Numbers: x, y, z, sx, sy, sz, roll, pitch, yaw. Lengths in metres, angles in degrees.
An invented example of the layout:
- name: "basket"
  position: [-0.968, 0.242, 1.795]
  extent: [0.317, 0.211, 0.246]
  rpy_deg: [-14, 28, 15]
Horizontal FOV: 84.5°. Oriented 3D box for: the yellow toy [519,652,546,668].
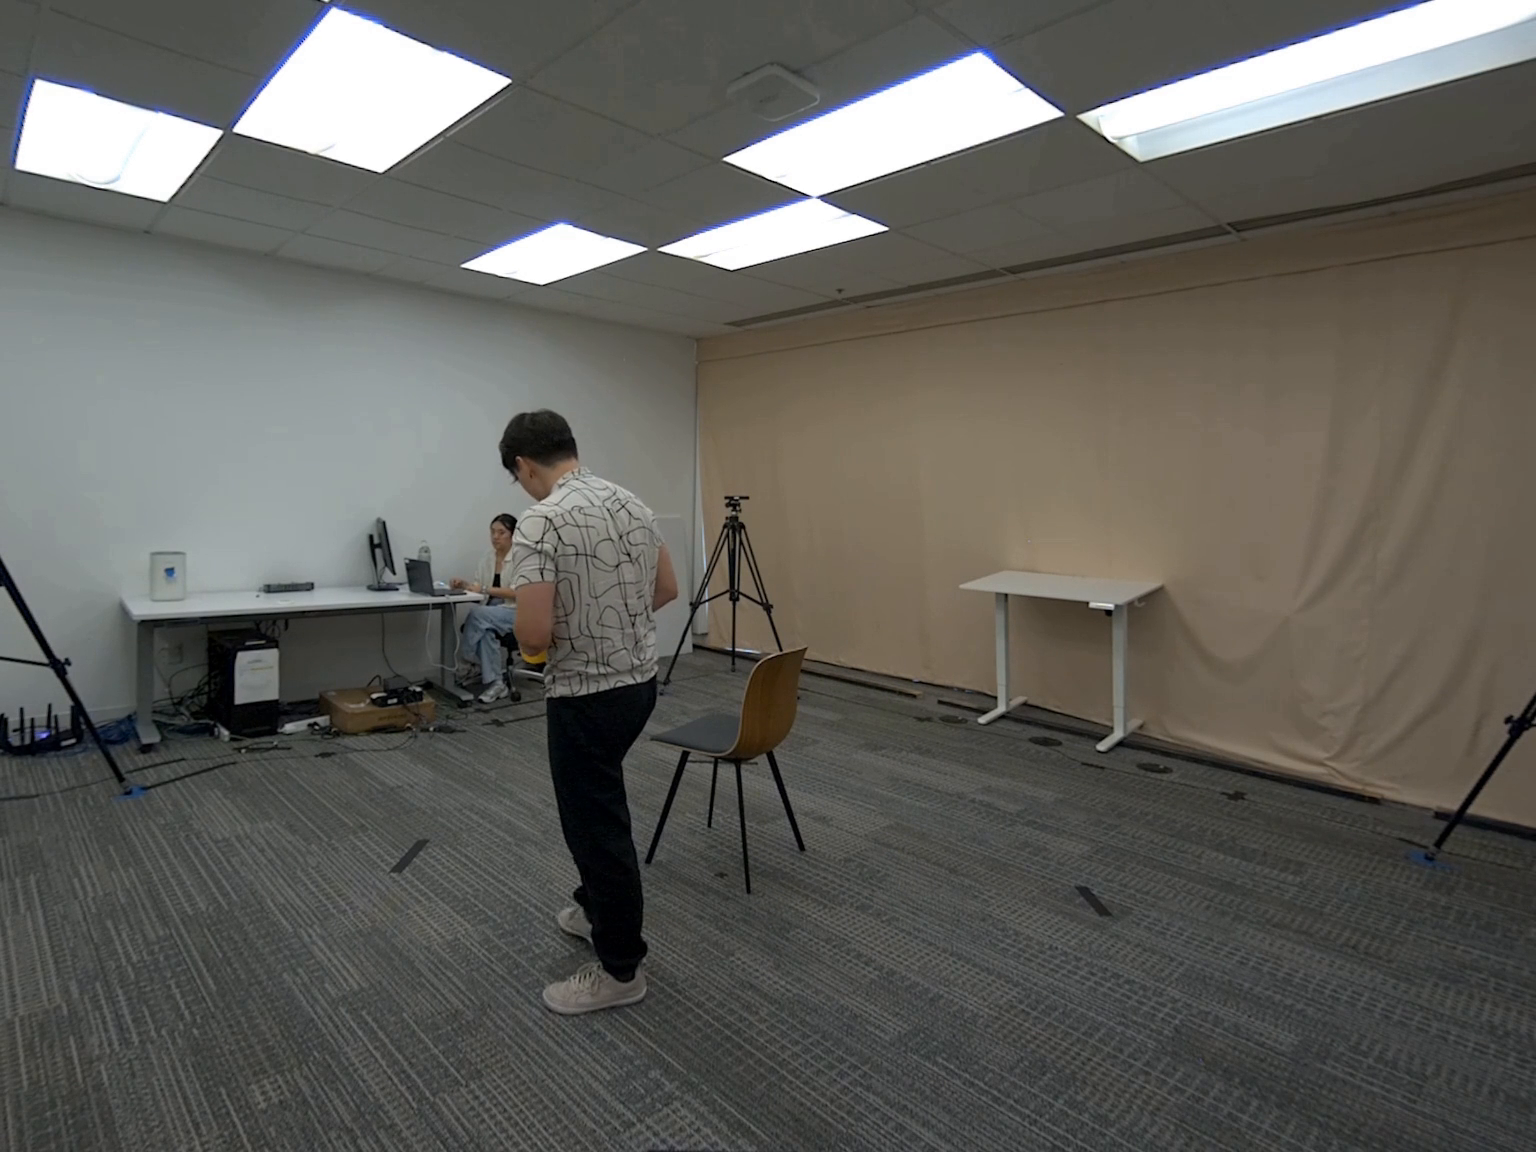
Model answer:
- name: "yellow toy"
  position: [-0.649, 0.108, 2.464]
  extent: [0.203, 0.226, 0.198]
  rpy_deg: [-29, 27, -33]
